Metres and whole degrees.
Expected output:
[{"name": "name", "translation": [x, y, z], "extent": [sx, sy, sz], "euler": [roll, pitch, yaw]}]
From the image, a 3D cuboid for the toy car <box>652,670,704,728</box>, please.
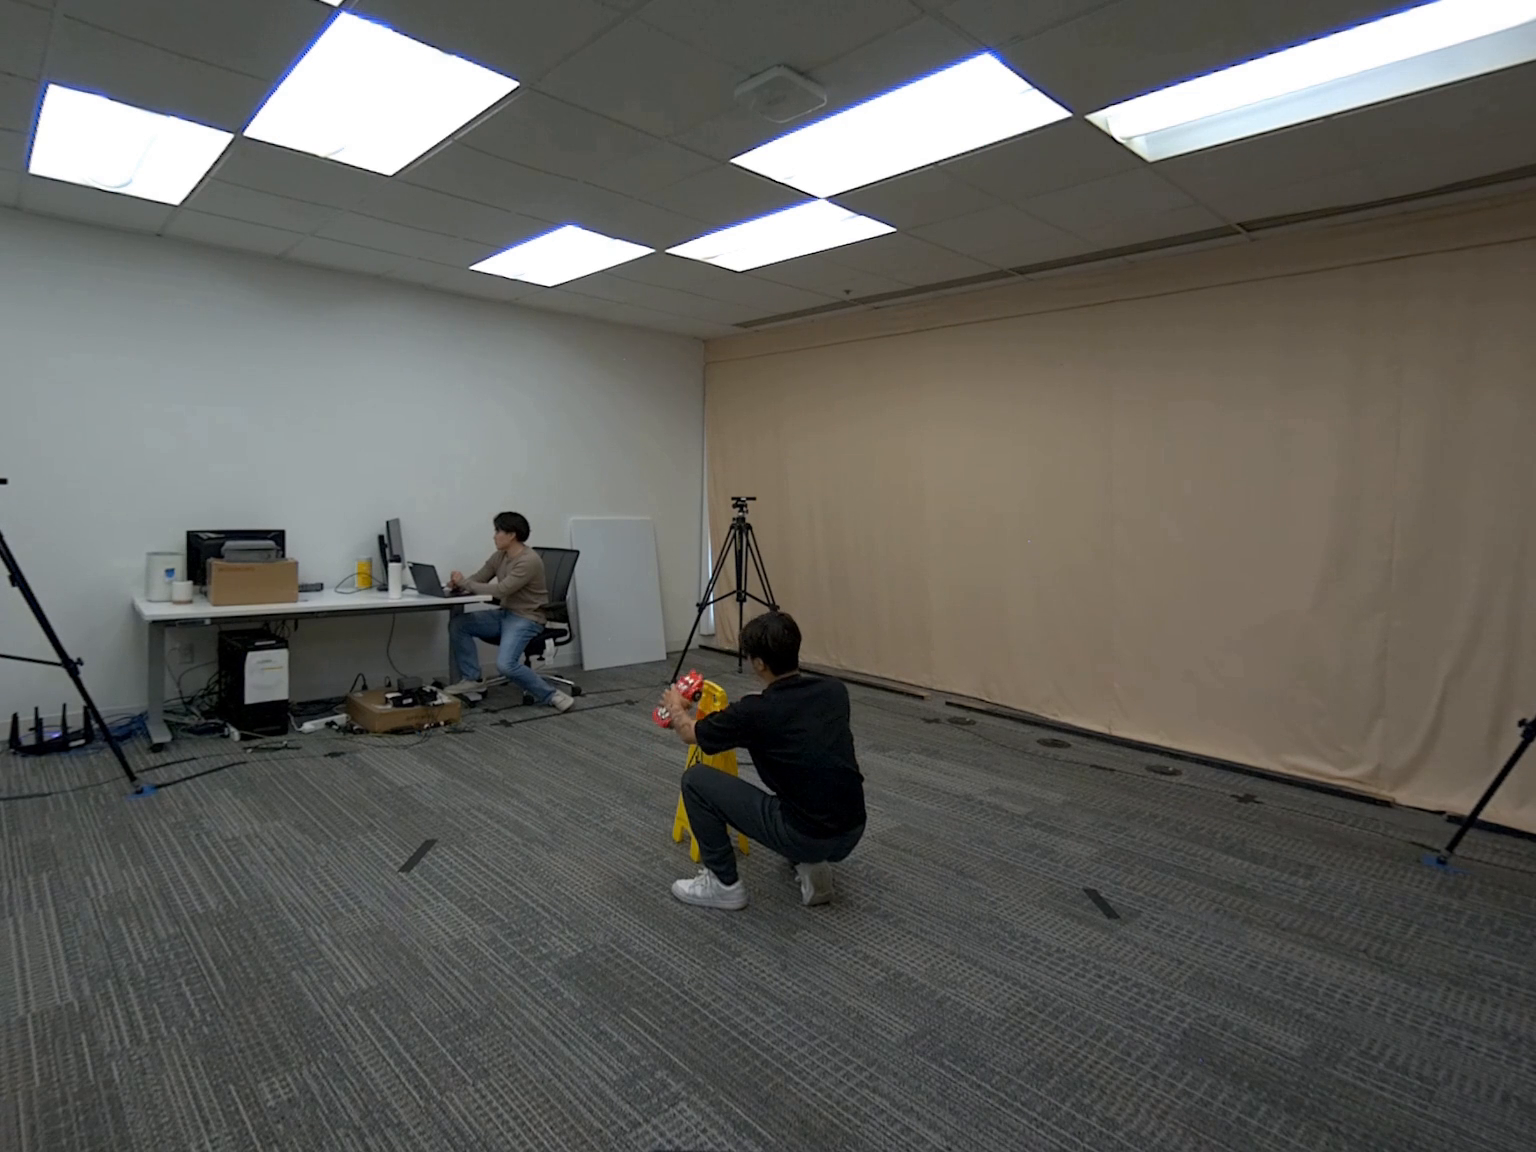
[{"name": "toy car", "translation": [-0.352, 0.486, 3.320], "extent": [0.134, 0.255, 0.080], "euler": [22, -15, 47]}]
